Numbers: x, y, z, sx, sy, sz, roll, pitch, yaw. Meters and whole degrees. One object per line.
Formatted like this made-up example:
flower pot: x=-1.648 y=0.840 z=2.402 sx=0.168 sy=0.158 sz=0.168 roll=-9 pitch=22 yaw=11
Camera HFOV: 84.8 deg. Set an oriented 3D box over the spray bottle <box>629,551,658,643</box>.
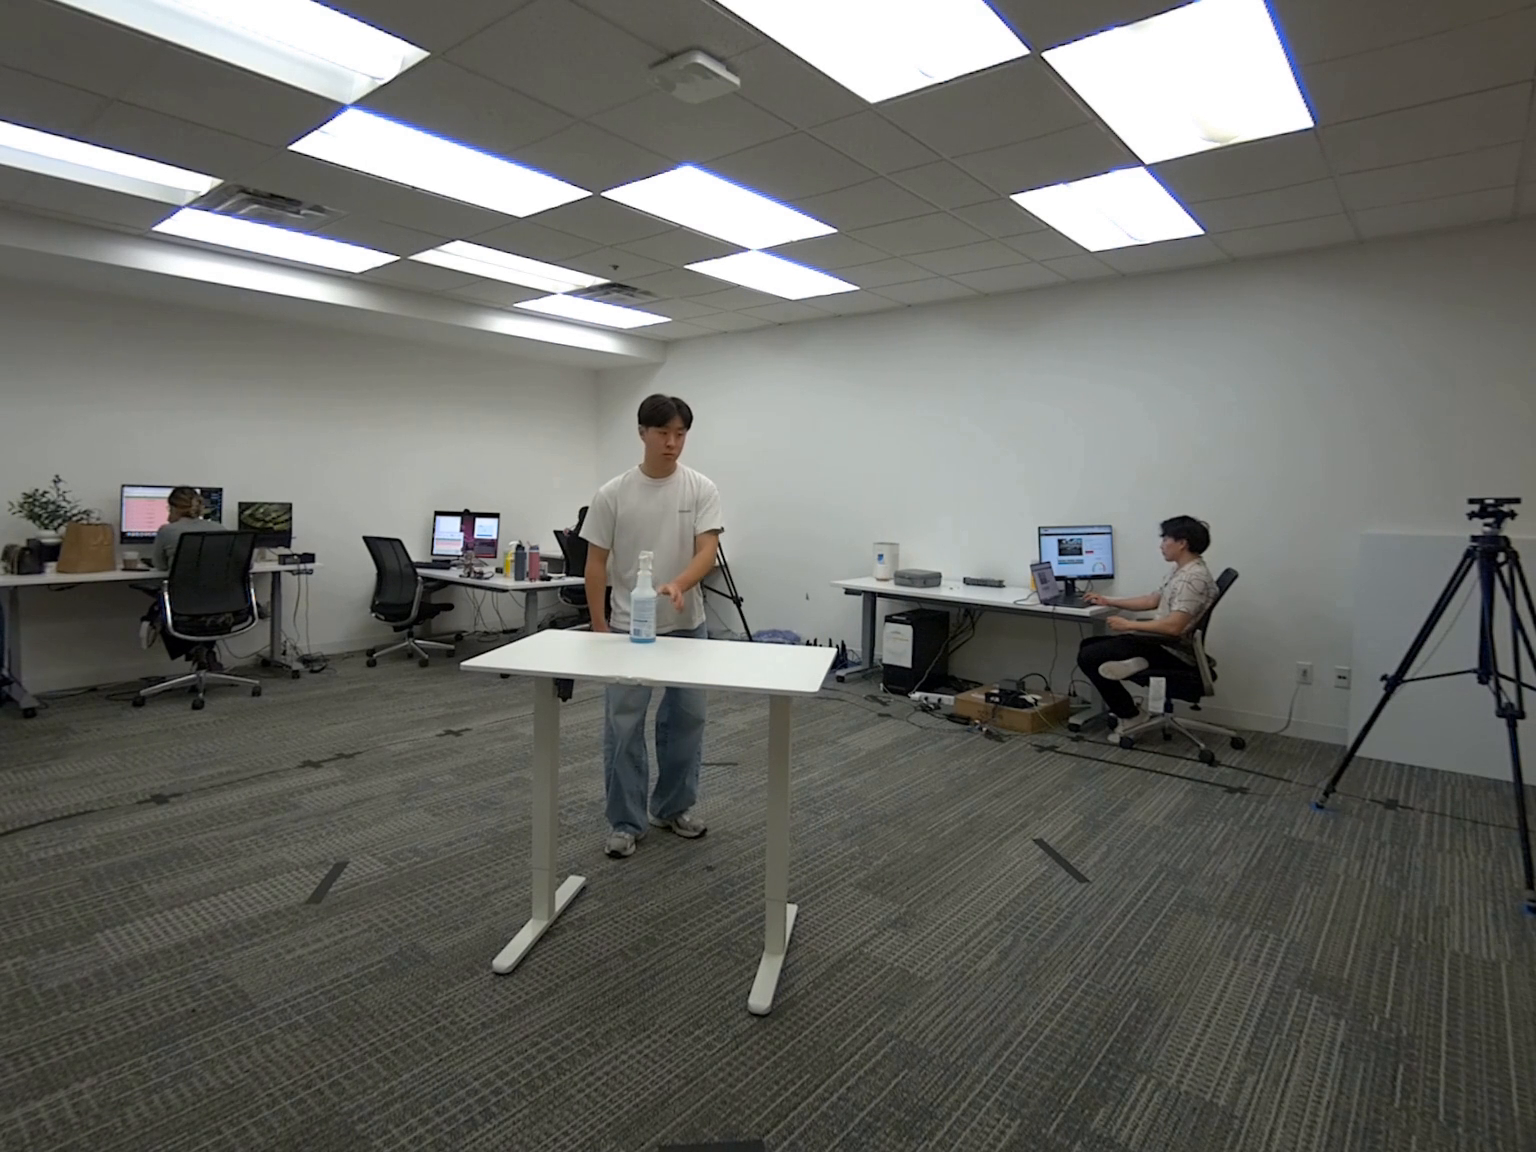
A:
spray bottle: x=-0.422 y=0.064 z=2.774 sx=0.087 sy=0.296 sz=0.091 roll=1 pitch=5 yaw=-3
